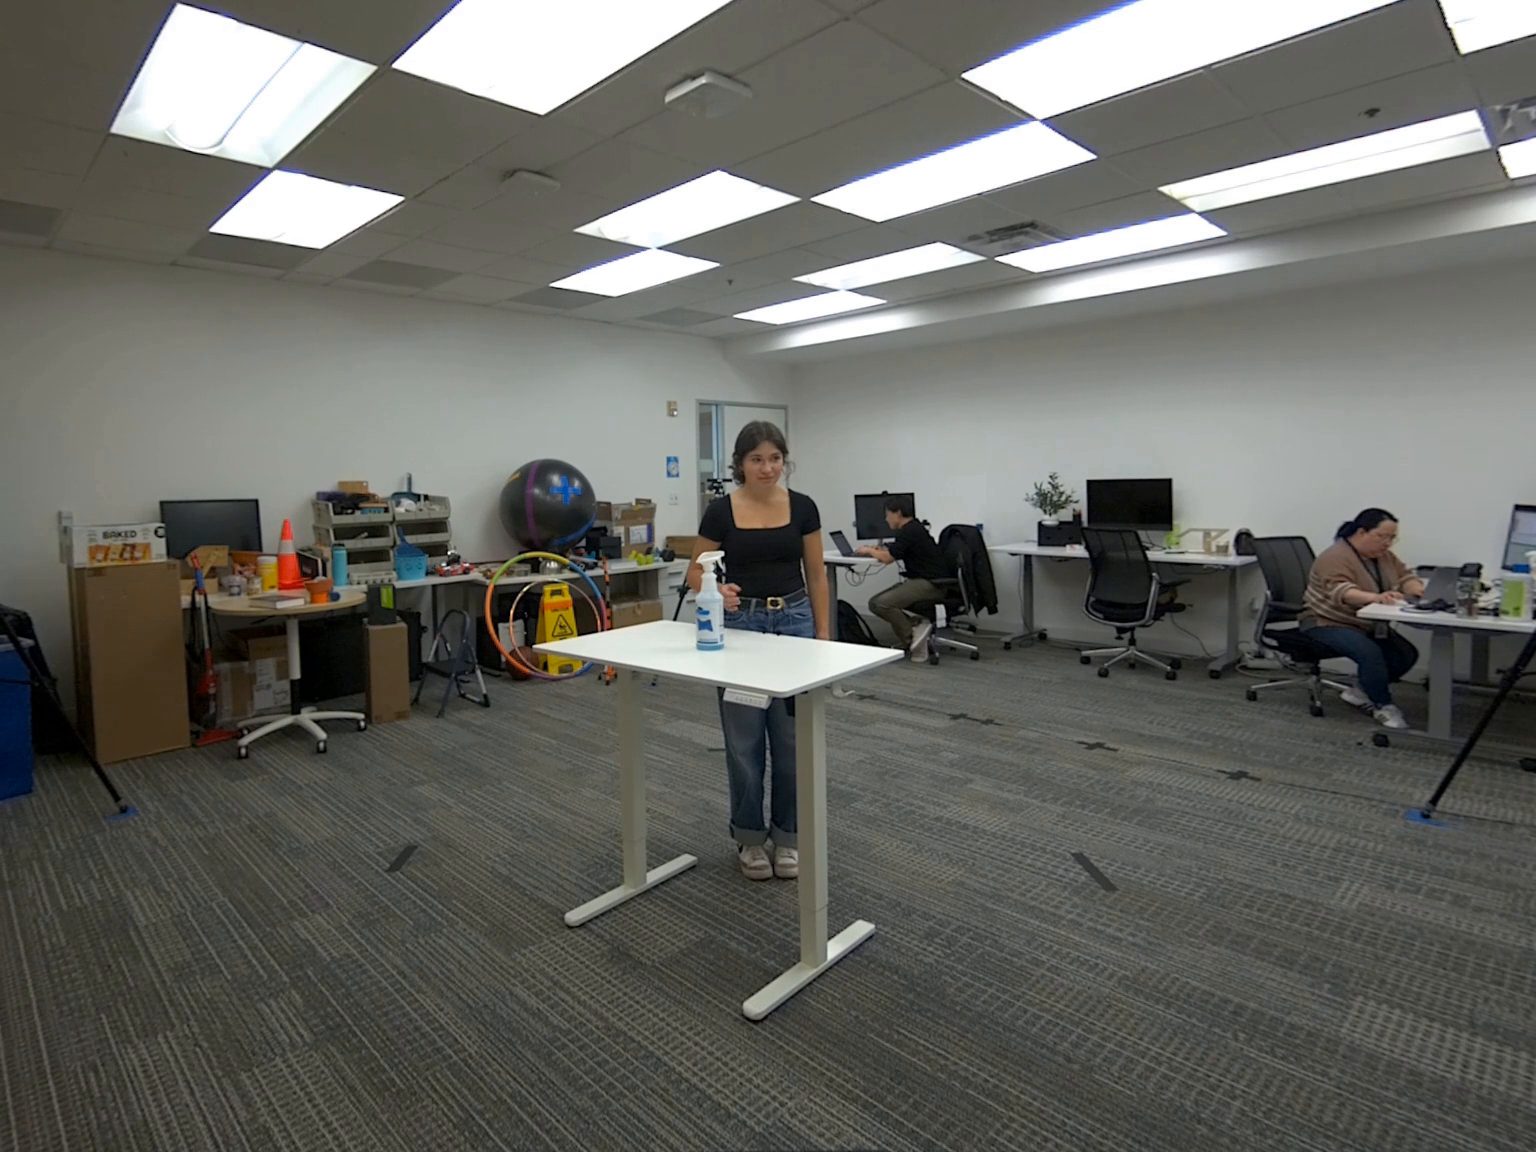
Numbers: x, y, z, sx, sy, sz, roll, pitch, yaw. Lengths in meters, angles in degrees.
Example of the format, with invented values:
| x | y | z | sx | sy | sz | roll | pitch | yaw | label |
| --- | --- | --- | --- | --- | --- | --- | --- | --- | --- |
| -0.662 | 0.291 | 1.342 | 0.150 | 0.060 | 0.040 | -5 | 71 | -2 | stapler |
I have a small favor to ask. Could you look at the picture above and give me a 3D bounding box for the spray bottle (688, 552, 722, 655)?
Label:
| x | y | z | sx | sy | sz | roll | pitch | yaw | label |
| --- | --- | --- | --- | --- | --- | --- | --- | --- | --- |
| -0.193 | 0.080 | 2.613 | 0.090 | 0.296 | 0.087 | -2 | 3 | 0 | spray bottle |
